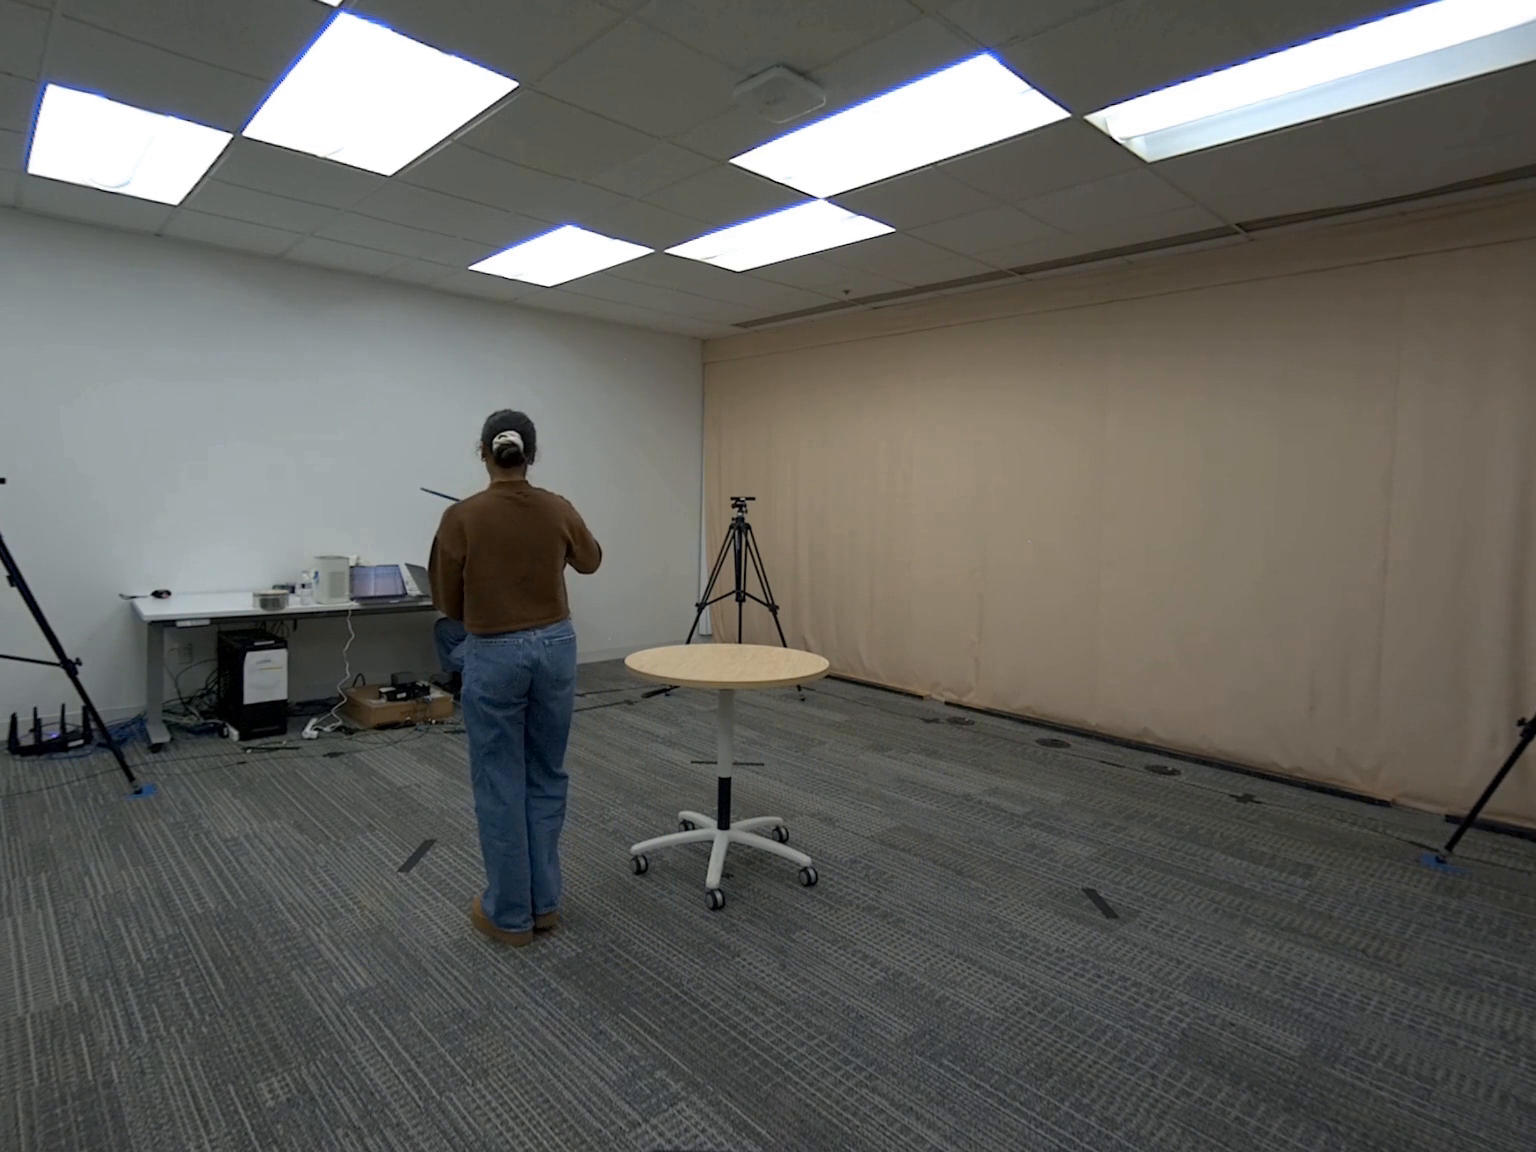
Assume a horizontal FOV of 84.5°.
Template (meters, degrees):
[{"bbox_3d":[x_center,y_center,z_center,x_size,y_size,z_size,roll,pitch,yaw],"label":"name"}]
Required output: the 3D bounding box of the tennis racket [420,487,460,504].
[{"bbox_3d":[-1.001,-0.240,2.973,0.435,0.032,0.212,18,-3,4],"label":"tennis racket"}]
